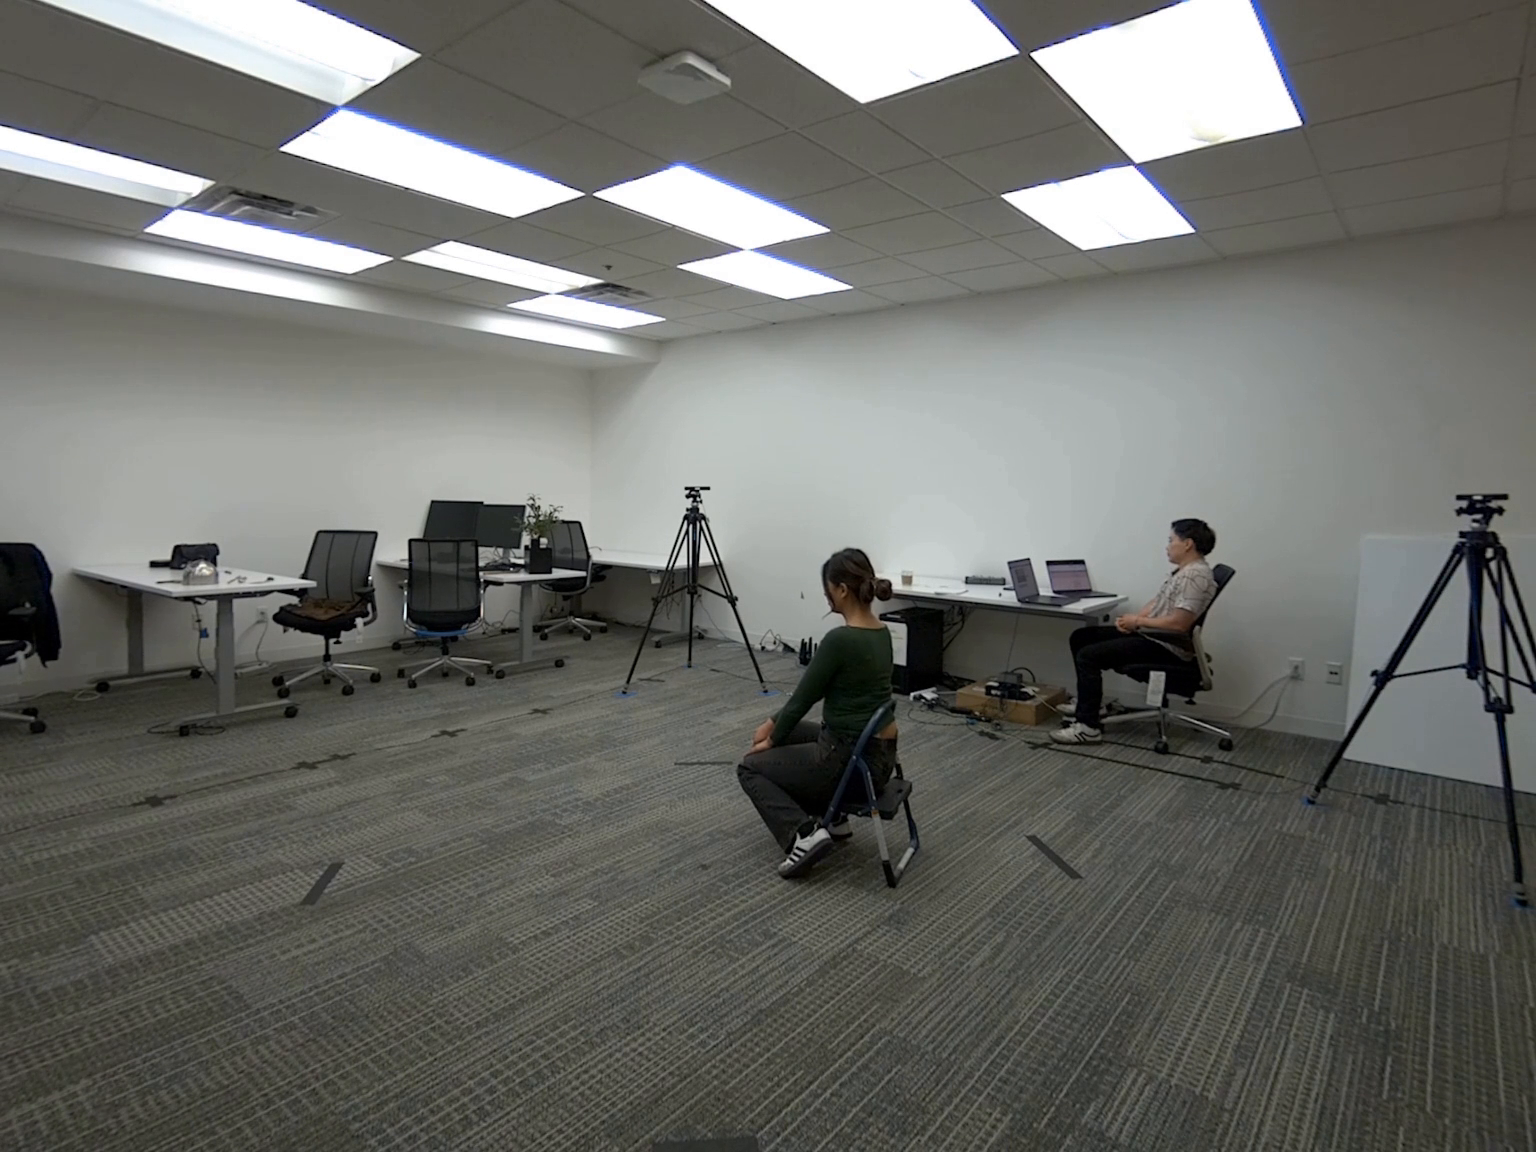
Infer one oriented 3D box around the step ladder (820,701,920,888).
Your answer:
[{"bbox_3d":[0.366,0.770,3.212,0.358,0.604,0.422,3,4,23],"label":"step ladder"}]
